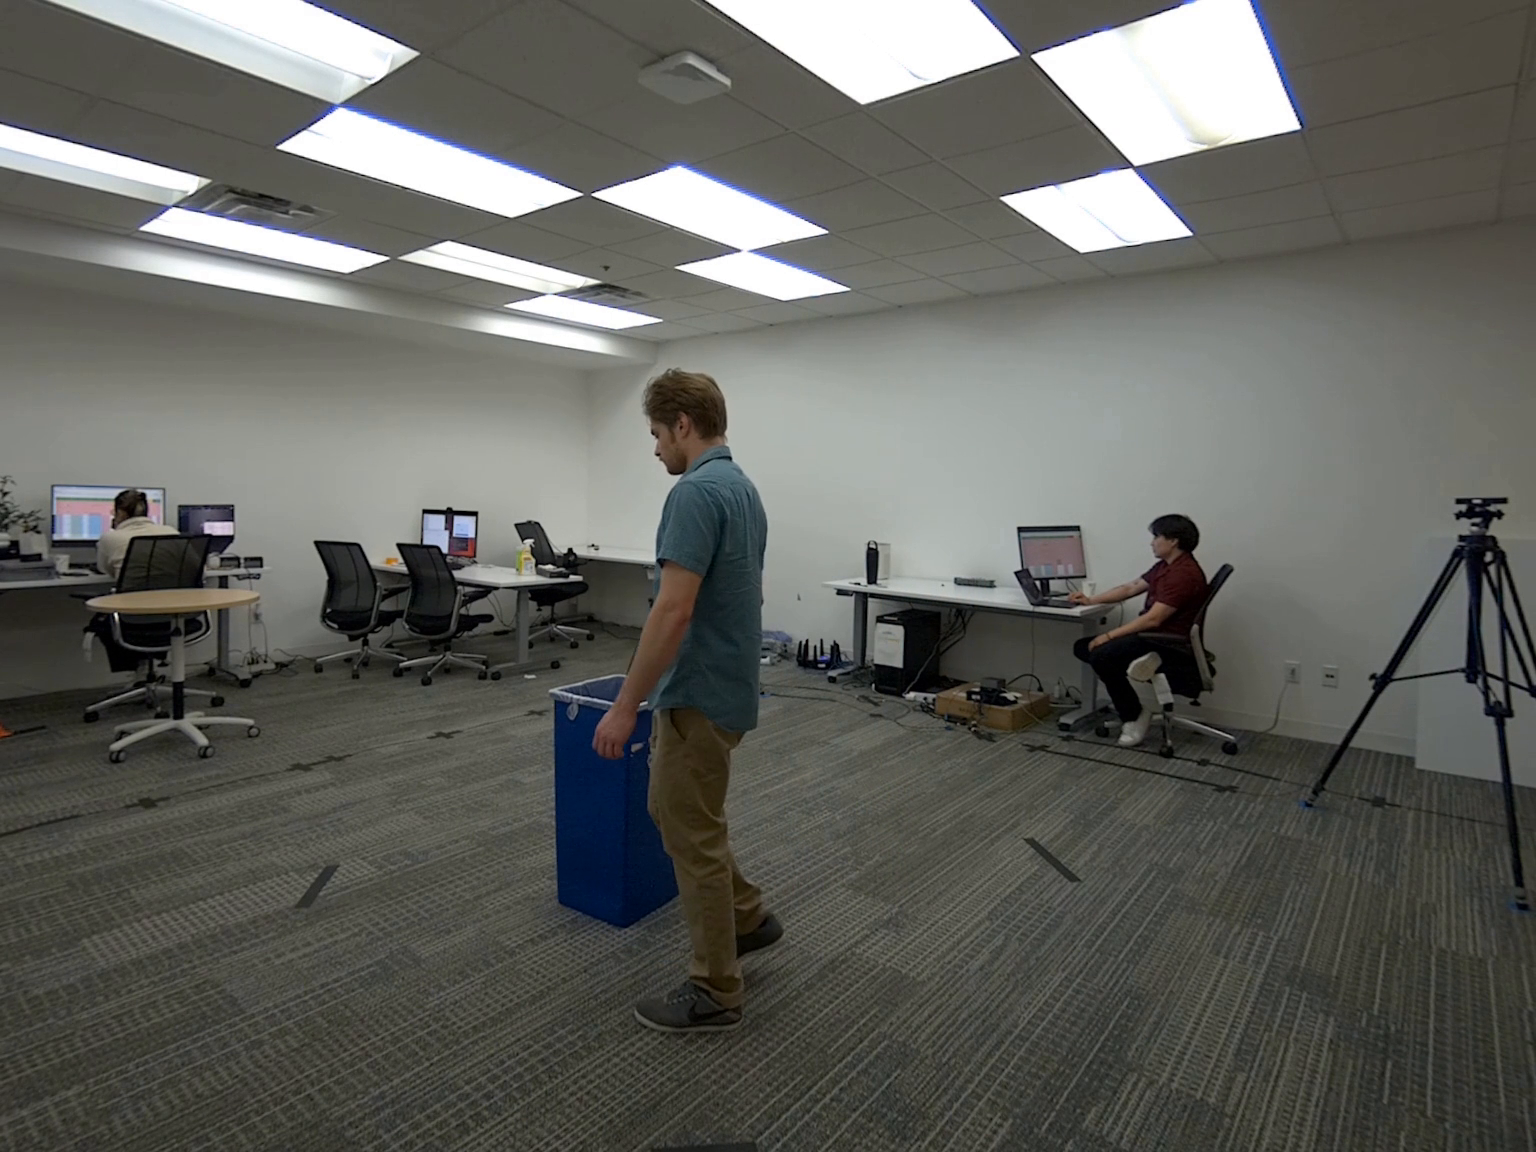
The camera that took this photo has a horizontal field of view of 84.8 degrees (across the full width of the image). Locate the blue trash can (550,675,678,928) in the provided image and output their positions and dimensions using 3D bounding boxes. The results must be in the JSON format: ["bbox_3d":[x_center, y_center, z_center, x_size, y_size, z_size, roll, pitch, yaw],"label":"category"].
[{"bbox_3d":[-0.504,0.730,2.872,0.390,0.712,0.364,3,4,32],"label":"blue trash can"}]
